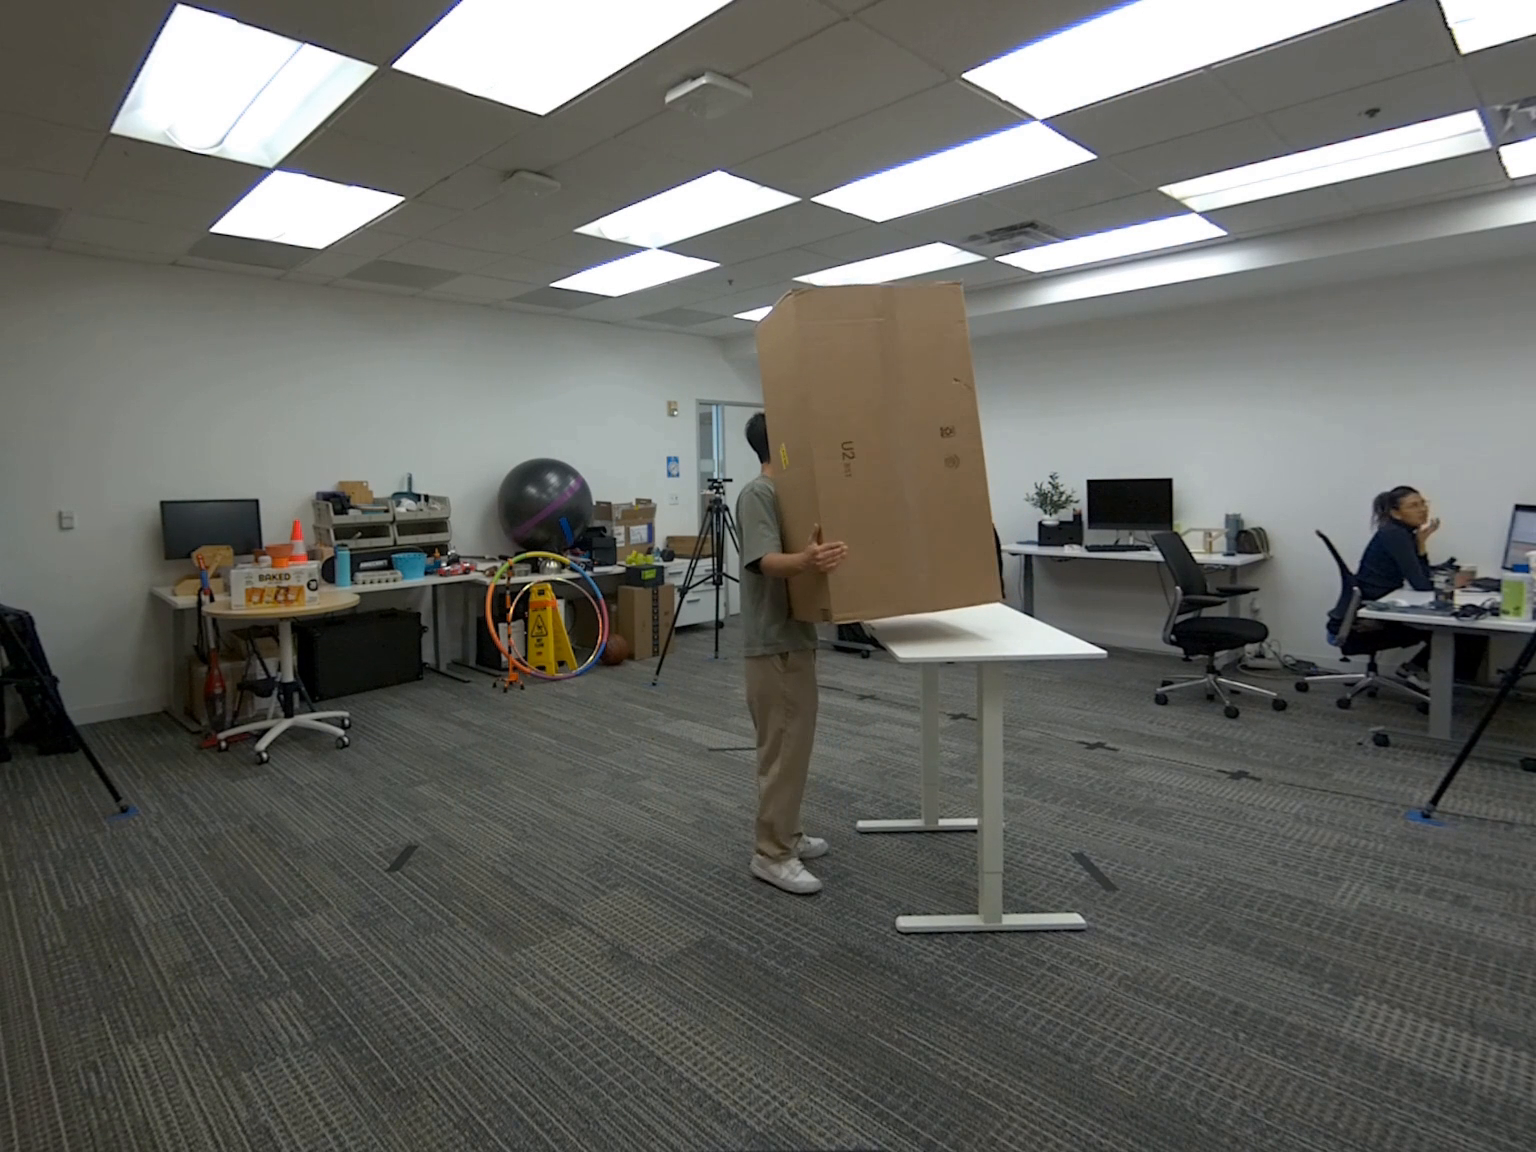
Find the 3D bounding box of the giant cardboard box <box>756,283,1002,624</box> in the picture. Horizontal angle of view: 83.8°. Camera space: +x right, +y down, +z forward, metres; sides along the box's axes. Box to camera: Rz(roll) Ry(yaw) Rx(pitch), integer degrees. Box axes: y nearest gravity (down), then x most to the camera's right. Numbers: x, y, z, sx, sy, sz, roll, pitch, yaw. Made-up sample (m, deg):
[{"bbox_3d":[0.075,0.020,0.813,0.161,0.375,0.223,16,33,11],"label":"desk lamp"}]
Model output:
[{"bbox_3d":[0.345,-0.390,2.816,0.571,1.026,0.431,-7,0,-14],"label":"giant cardboard box"}]
